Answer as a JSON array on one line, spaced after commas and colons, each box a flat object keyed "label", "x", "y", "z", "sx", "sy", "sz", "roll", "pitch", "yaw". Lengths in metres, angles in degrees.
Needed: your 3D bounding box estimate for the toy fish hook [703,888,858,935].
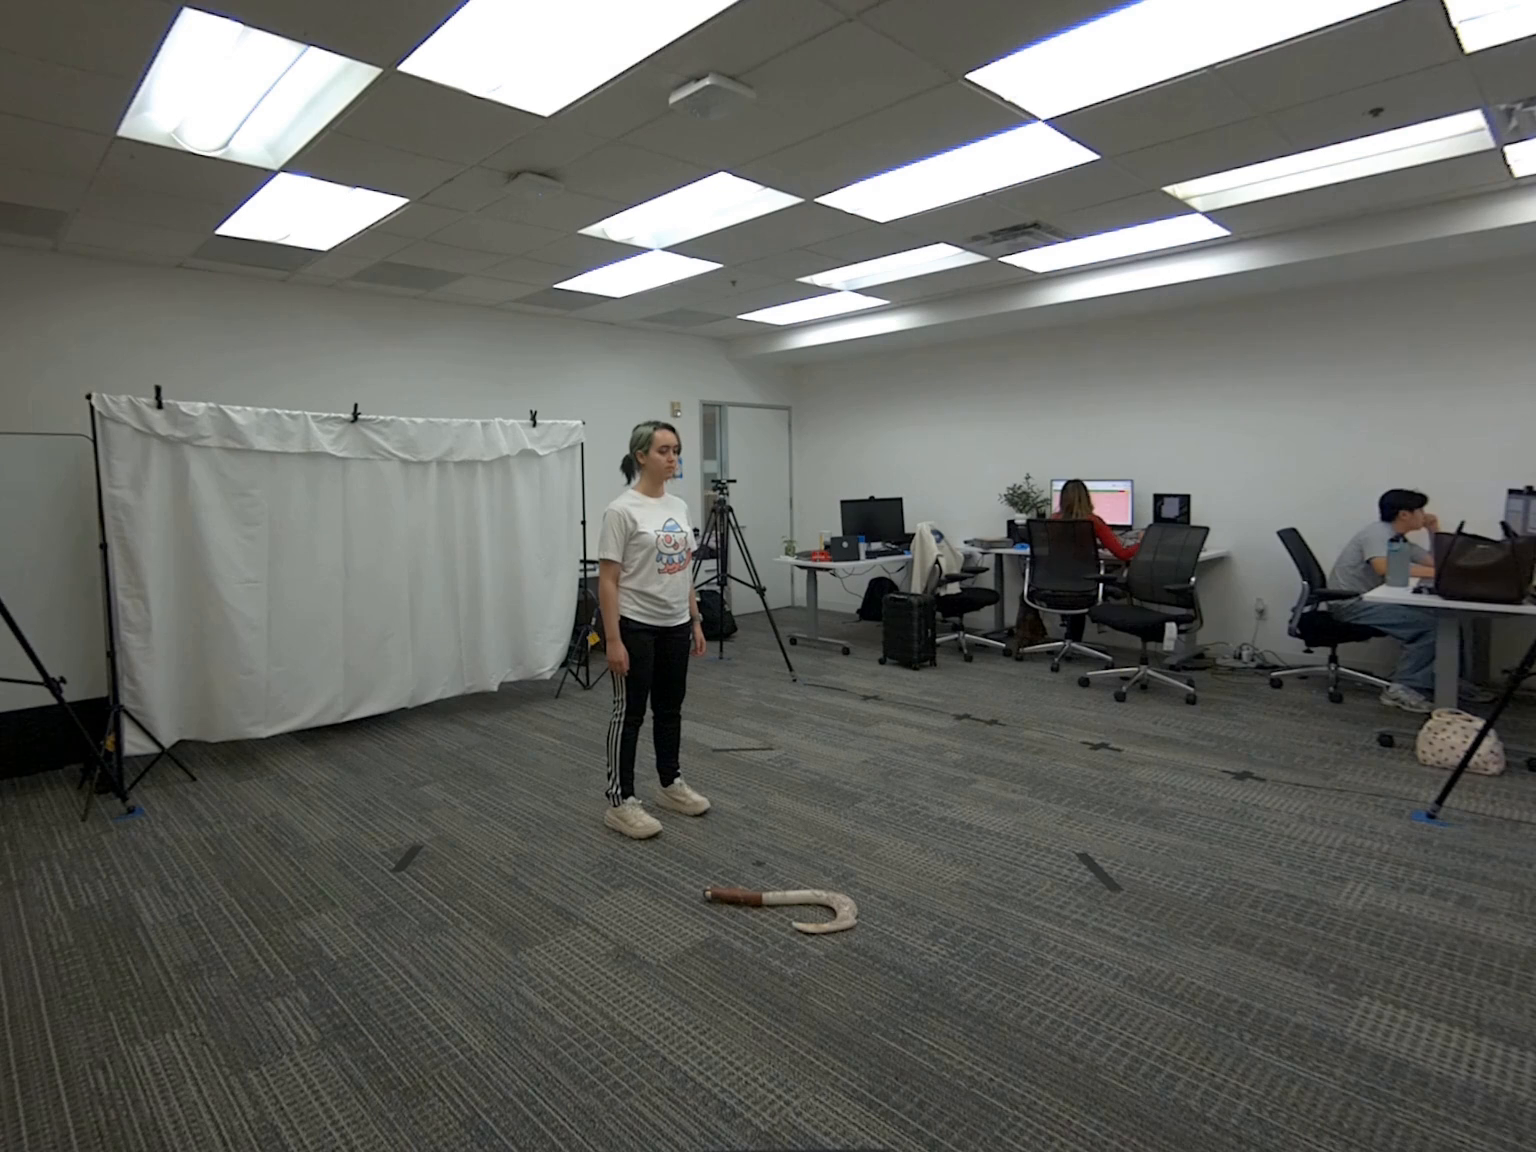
[{"label": "toy fish hook", "x": 0.034, "y": 1.066, "z": 2.742, "sx": 0.512, "sy": 0.048, "sz": 0.223, "roll": 0, "pitch": 5, "yaw": 10}]
